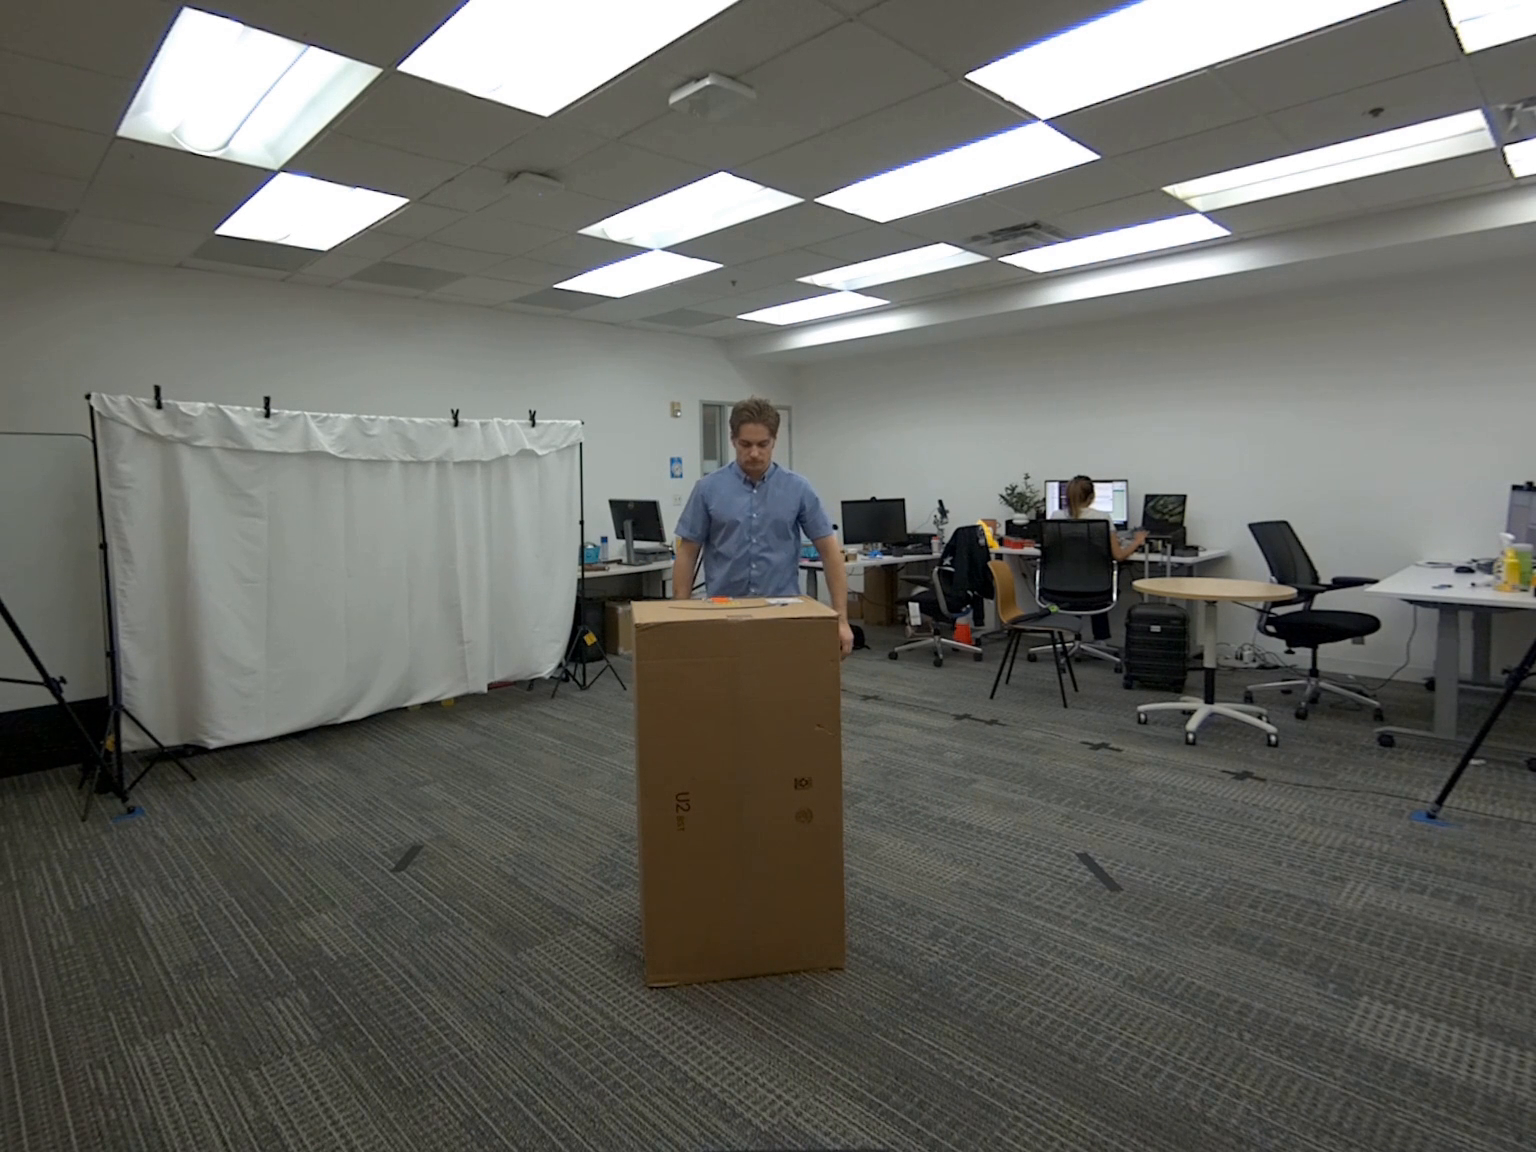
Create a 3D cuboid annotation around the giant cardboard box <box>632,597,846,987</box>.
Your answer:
[{"bbox_3d":[-0.115,0.602,2.571,0.581,1.023,0.451,-2,4,-6],"label":"giant cardboard box"}]
